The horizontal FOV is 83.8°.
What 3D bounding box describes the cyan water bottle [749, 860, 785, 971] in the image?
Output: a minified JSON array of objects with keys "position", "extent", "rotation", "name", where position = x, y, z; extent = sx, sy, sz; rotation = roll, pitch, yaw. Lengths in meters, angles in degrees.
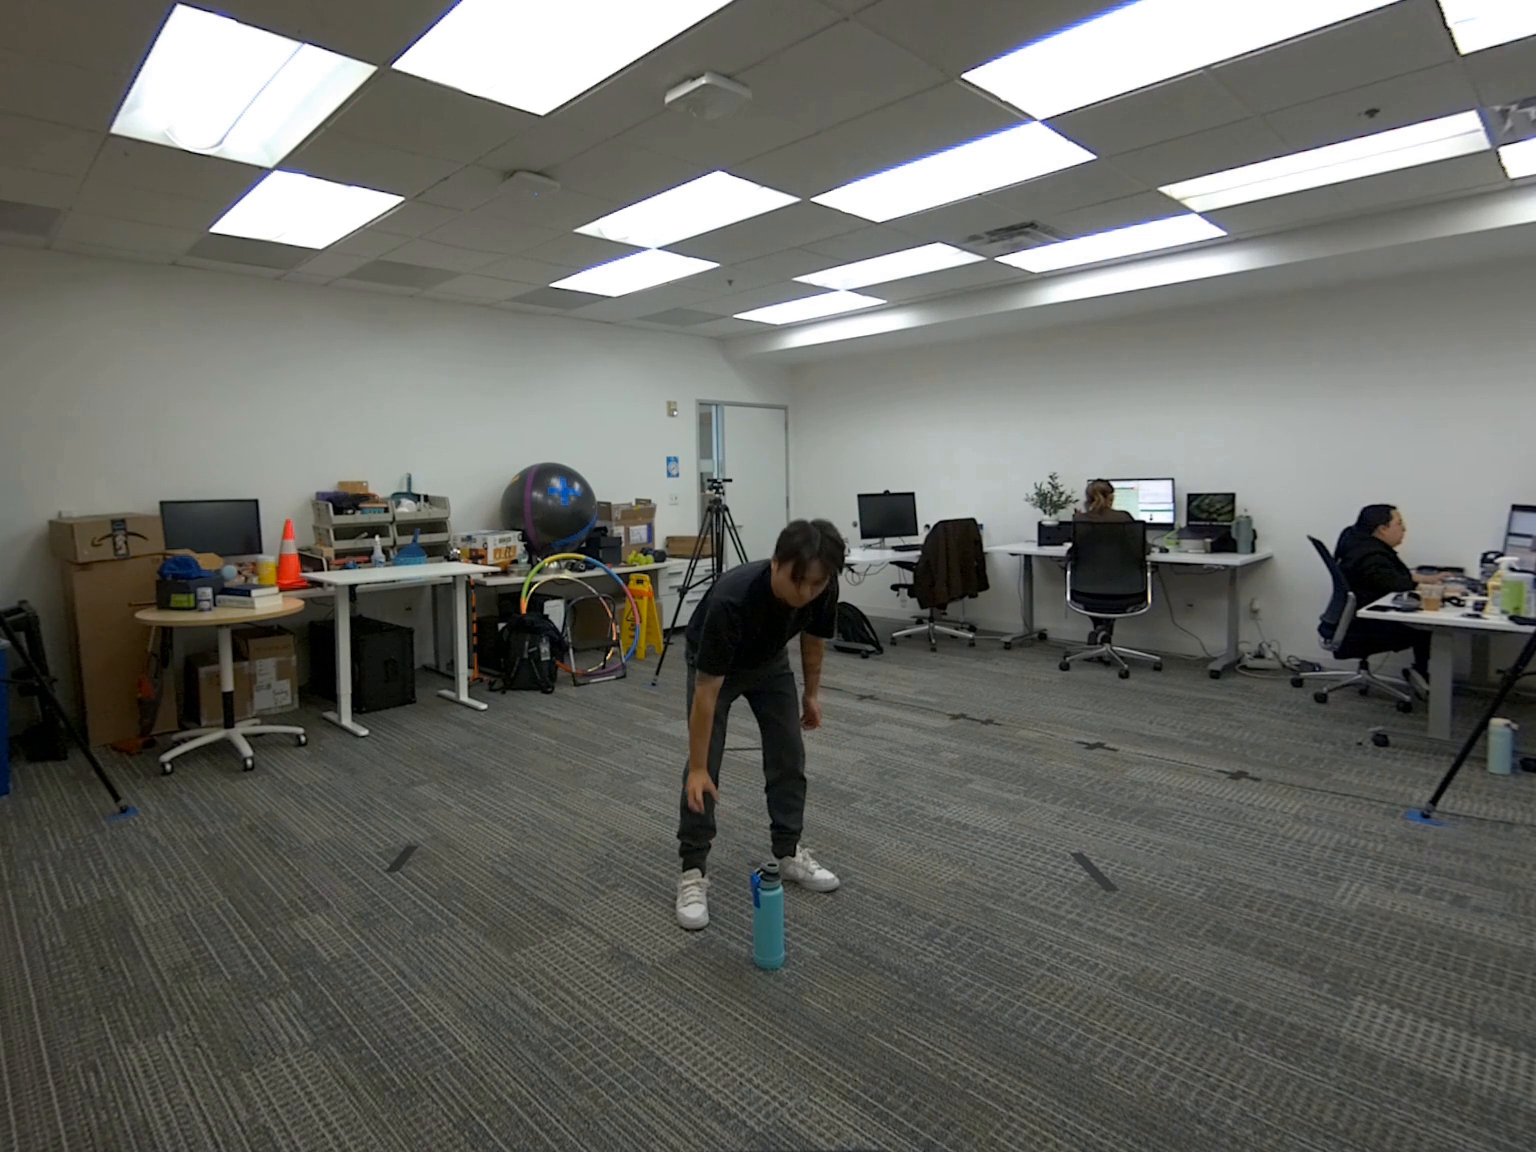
[{"position":[0.003,0.980,2.465],"extent":[0.092,0.283,0.092],"rotation":[-1,3,-2],"name":"cyan water bottle"}]
